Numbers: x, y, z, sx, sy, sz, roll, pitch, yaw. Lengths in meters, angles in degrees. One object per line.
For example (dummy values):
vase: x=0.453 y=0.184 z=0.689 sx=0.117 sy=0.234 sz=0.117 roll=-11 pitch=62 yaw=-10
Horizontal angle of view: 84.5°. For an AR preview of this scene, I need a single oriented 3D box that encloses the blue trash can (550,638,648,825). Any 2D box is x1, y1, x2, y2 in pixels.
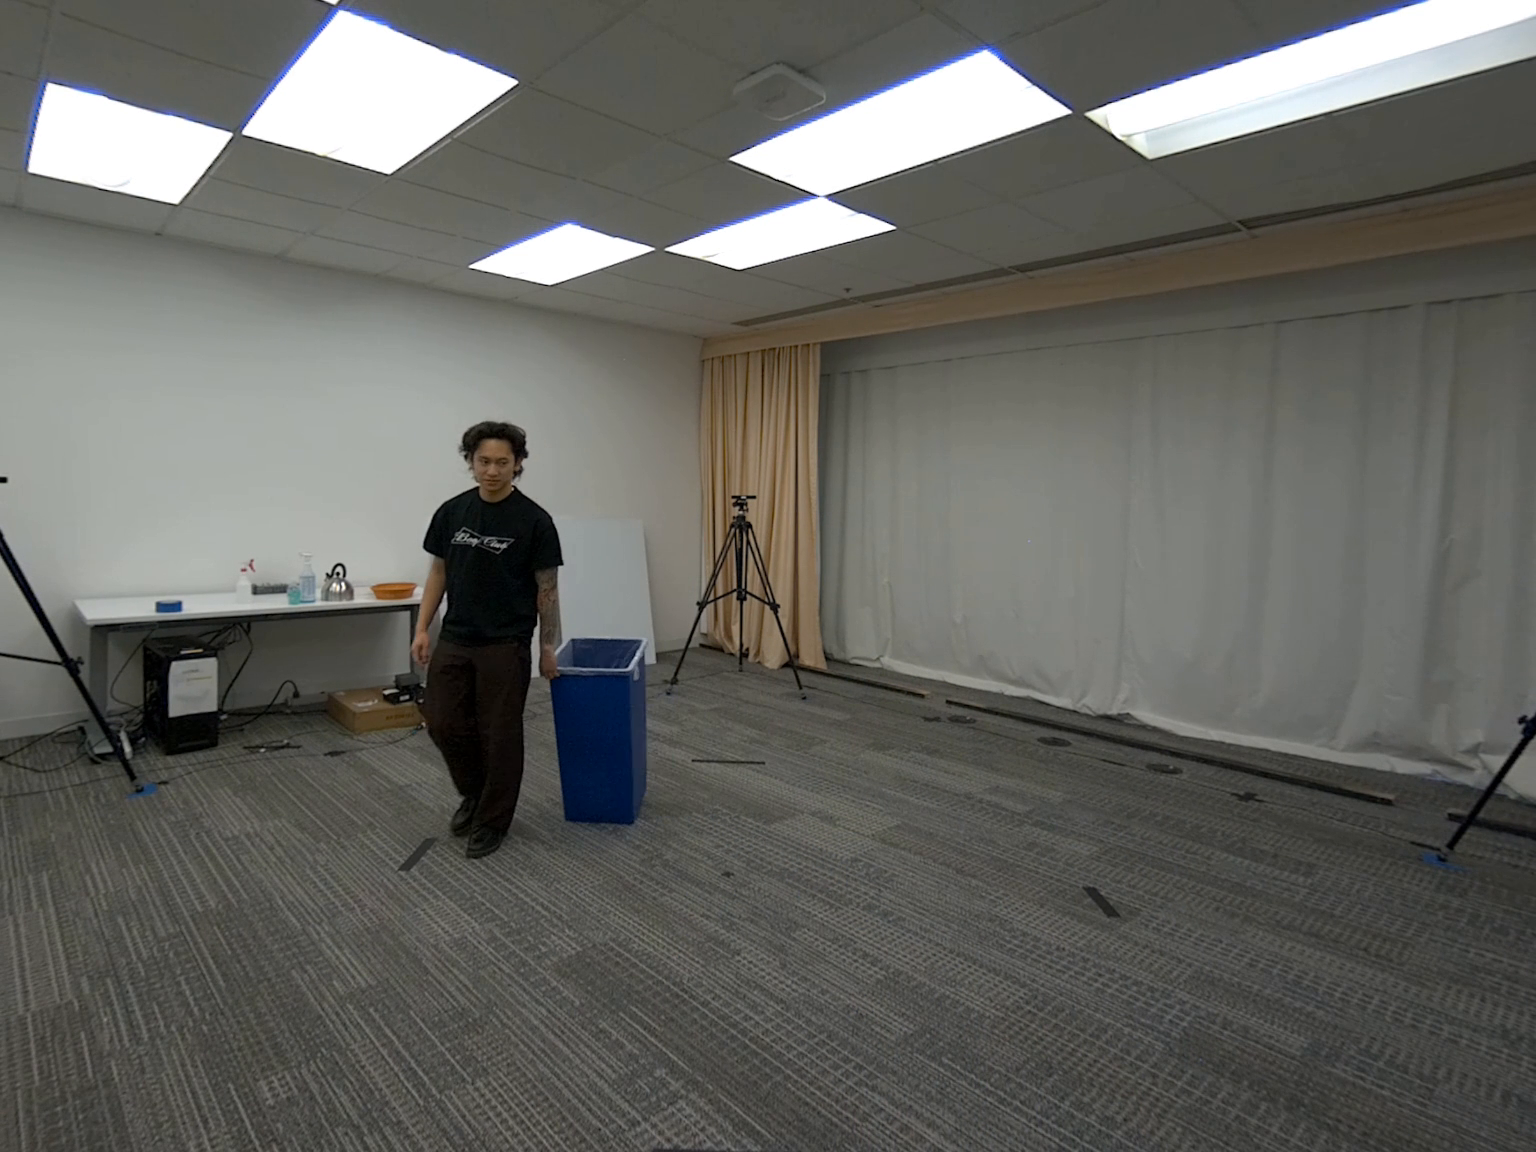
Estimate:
blue trash can: x=-0.723 y=0.665 z=3.621 sx=0.376 sy=0.706 sz=0.380 roll=1 pitch=15 yaw=5
